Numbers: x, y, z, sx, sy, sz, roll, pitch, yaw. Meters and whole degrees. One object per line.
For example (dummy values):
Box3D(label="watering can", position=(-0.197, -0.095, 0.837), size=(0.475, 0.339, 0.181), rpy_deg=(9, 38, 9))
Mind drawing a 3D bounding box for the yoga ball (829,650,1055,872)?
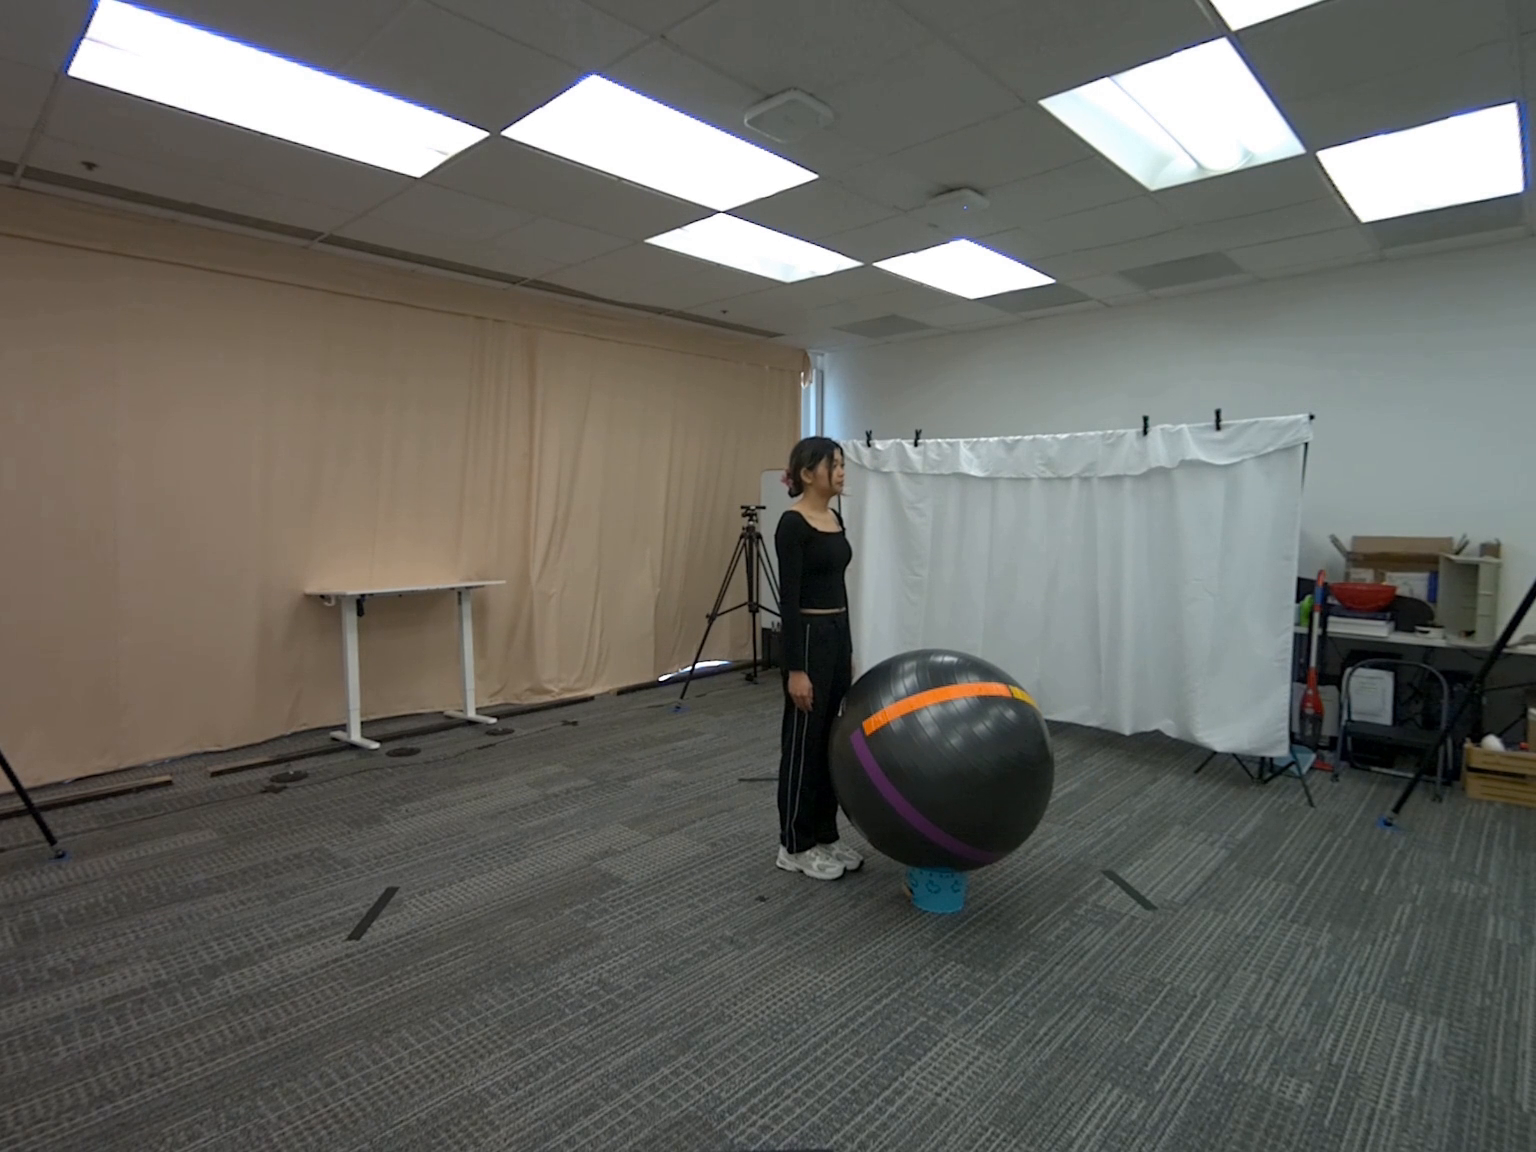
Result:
Box3D(label="yoga ball", position=(0.605, 0.638, 2.935), size=(0.757, 0.756, 0.760), rpy_deg=(0, 4, -2))
